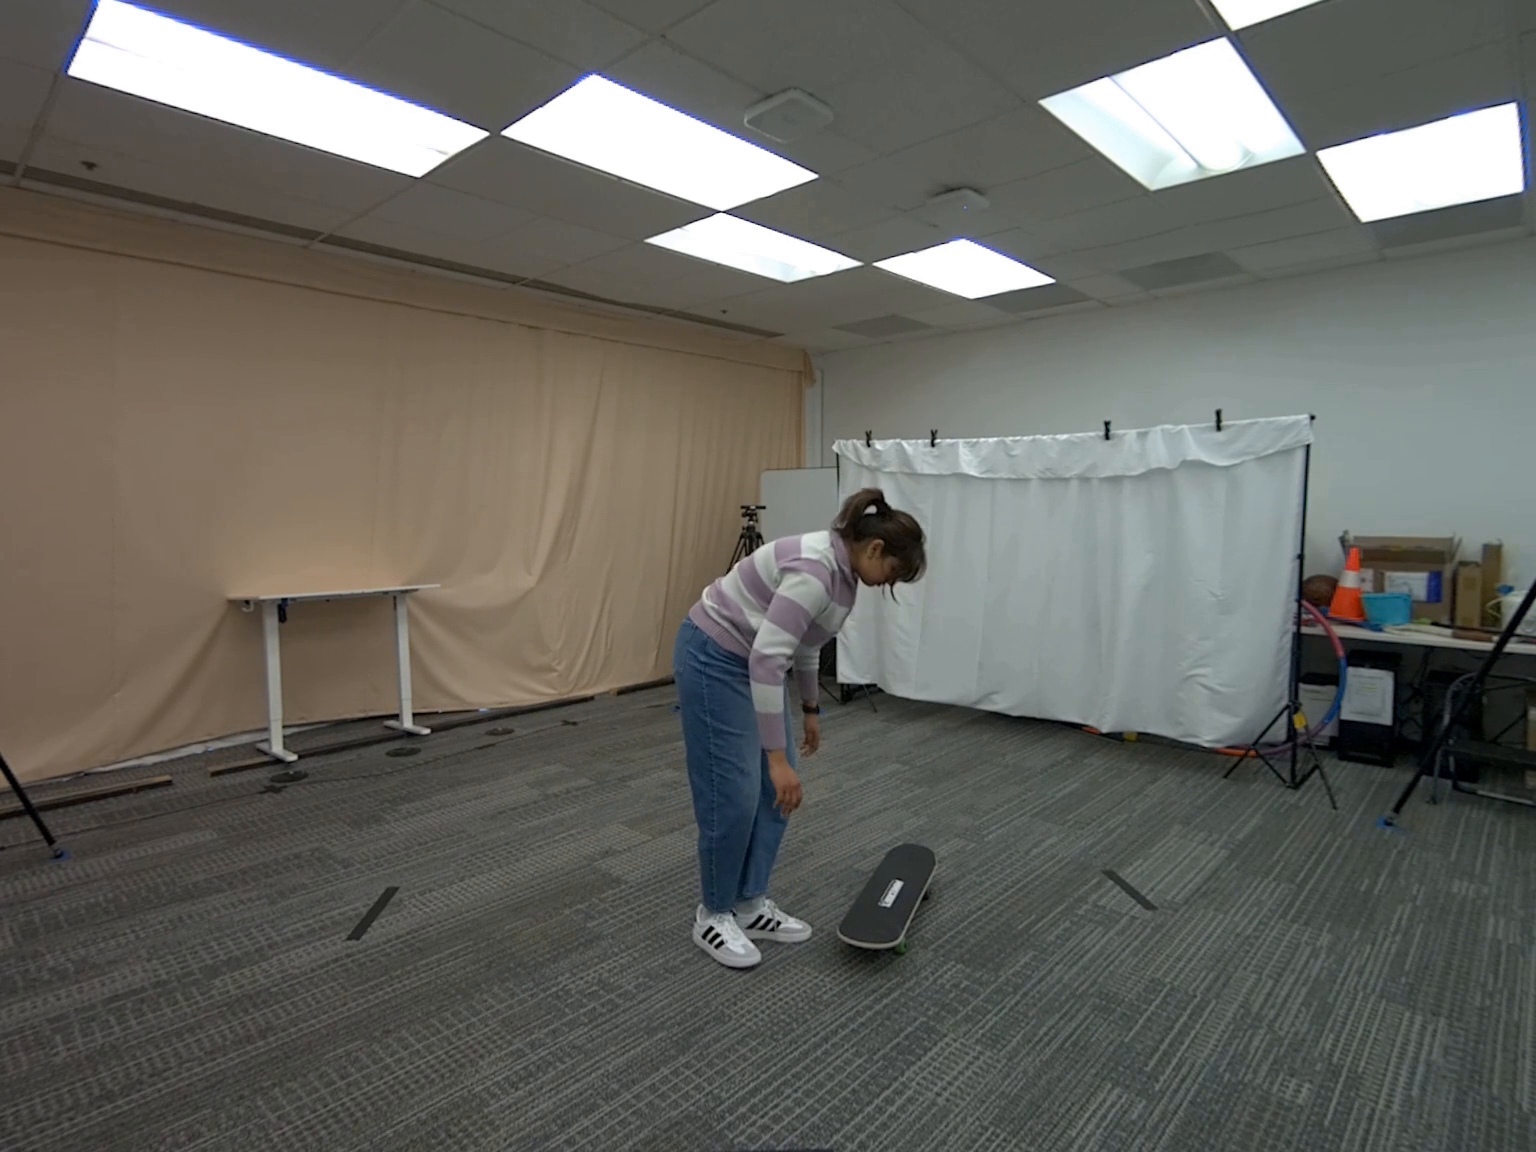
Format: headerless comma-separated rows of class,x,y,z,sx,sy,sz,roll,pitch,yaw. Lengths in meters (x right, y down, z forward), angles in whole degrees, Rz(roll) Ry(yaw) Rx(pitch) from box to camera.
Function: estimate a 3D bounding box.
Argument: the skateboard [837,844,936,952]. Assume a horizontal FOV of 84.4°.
skateboard,0.421,1.097,2.831,0.198,0.110,0.769,1,5,22
